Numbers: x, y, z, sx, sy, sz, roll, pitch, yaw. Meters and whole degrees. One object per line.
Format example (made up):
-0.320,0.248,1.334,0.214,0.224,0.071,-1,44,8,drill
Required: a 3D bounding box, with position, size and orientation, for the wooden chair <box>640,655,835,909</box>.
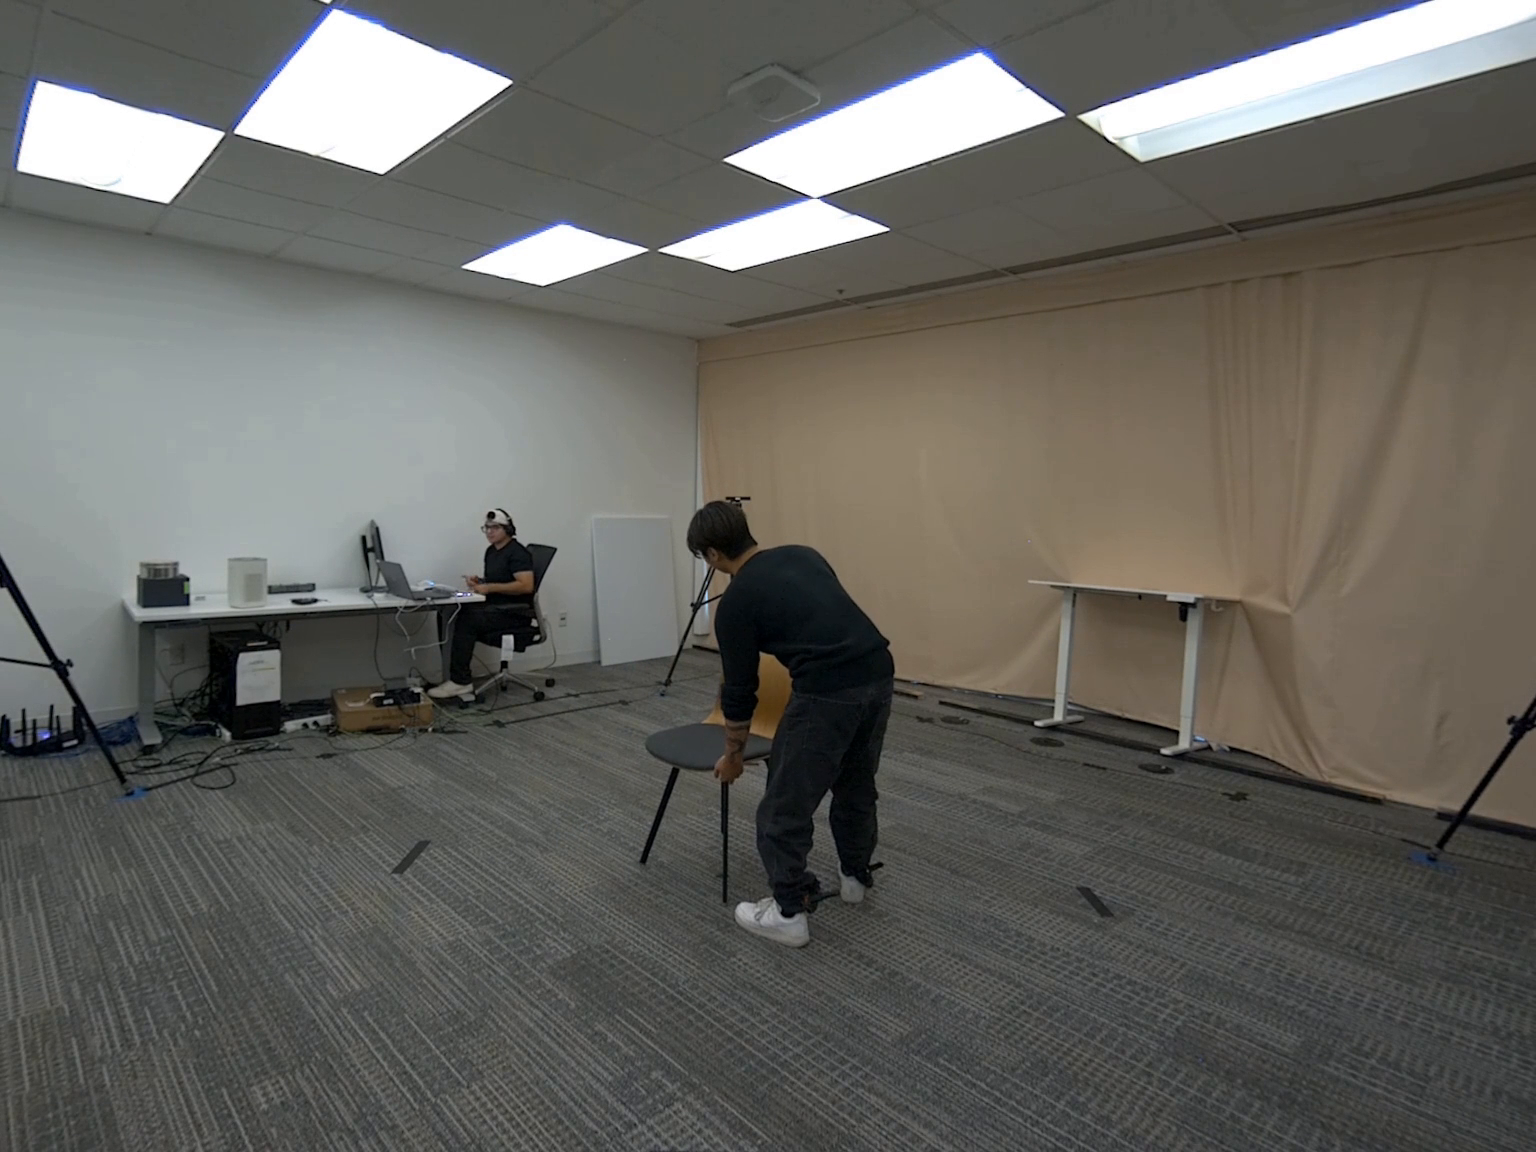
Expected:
-0.167,0.670,3.166,0.490,0.878,0.510,4,-1,42,wooden chair
